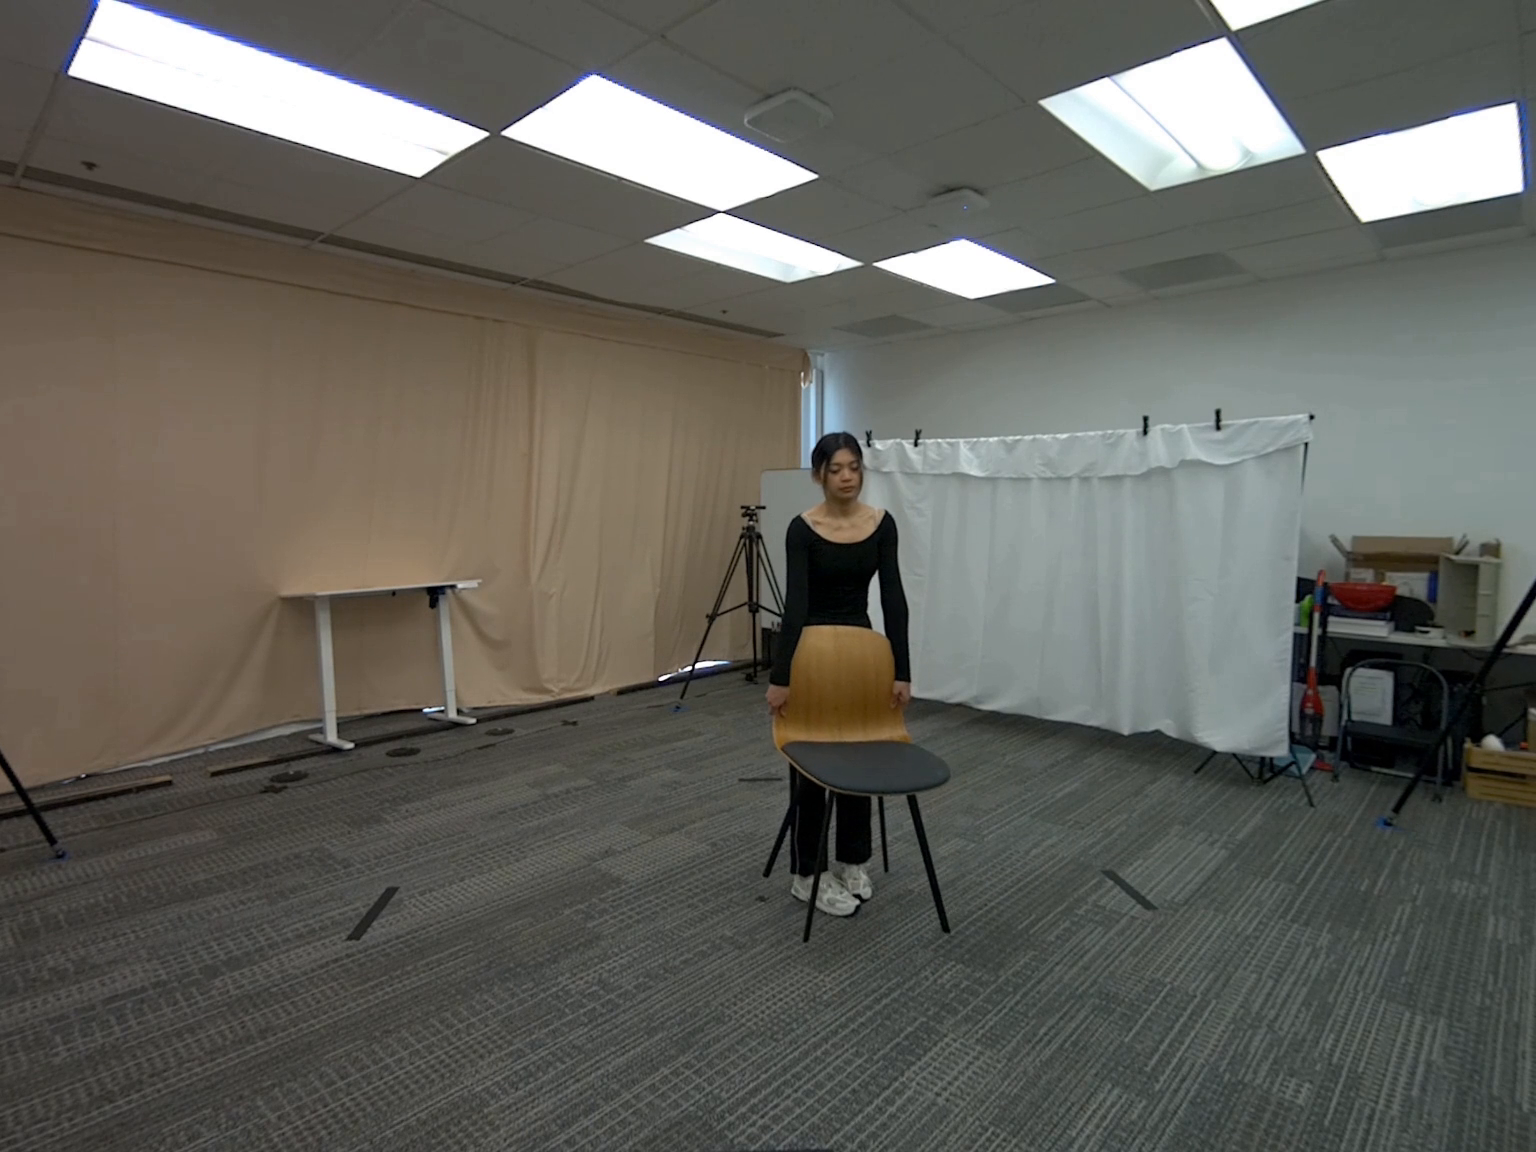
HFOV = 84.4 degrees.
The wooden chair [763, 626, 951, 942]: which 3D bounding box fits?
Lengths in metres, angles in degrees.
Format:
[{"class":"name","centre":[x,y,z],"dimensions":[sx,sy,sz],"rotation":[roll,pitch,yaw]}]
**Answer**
[{"class":"wooden chair","centre":[0.282,0.603,2.632],"dimensions":[0.471,0.879,0.530],"rotation":[2,-2,-14]}]
